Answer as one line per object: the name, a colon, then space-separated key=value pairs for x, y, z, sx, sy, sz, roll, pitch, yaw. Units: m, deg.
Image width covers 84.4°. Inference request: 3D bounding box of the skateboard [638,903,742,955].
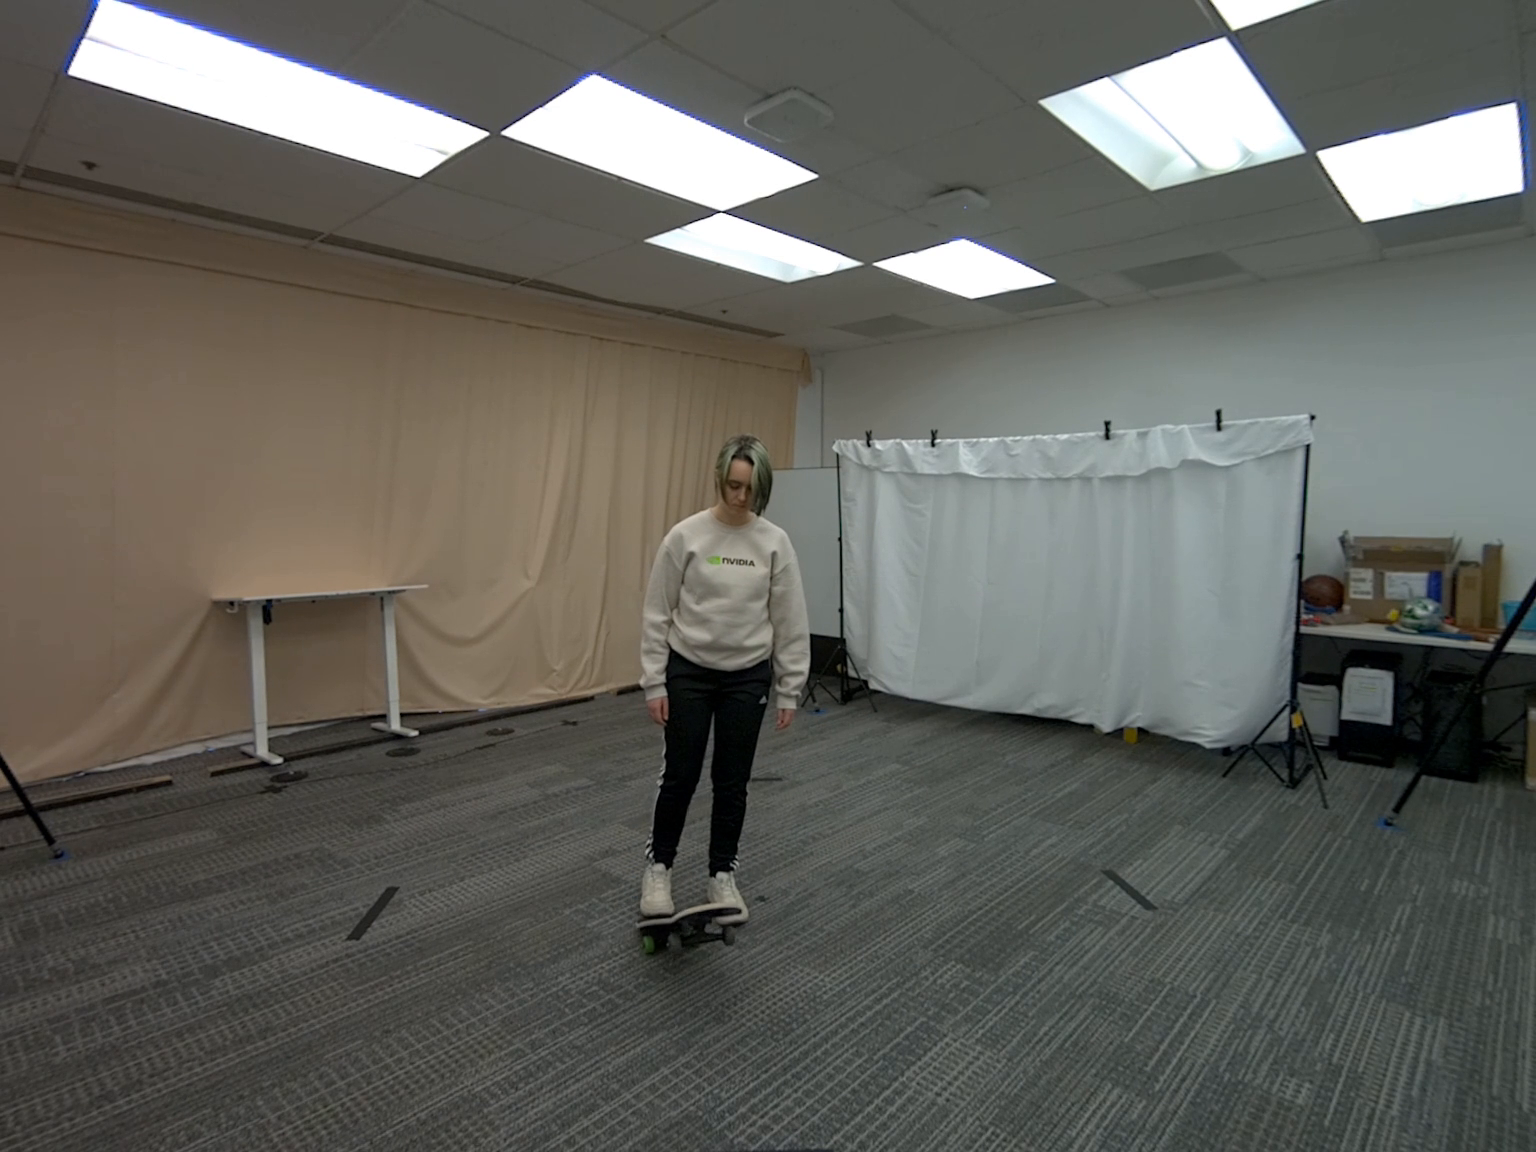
skateboard: x=-0.240 y=1.049 z=2.483 sx=0.190 sy=0.112 sz=0.786 roll=-2 pitch=-22 yaw=-18
